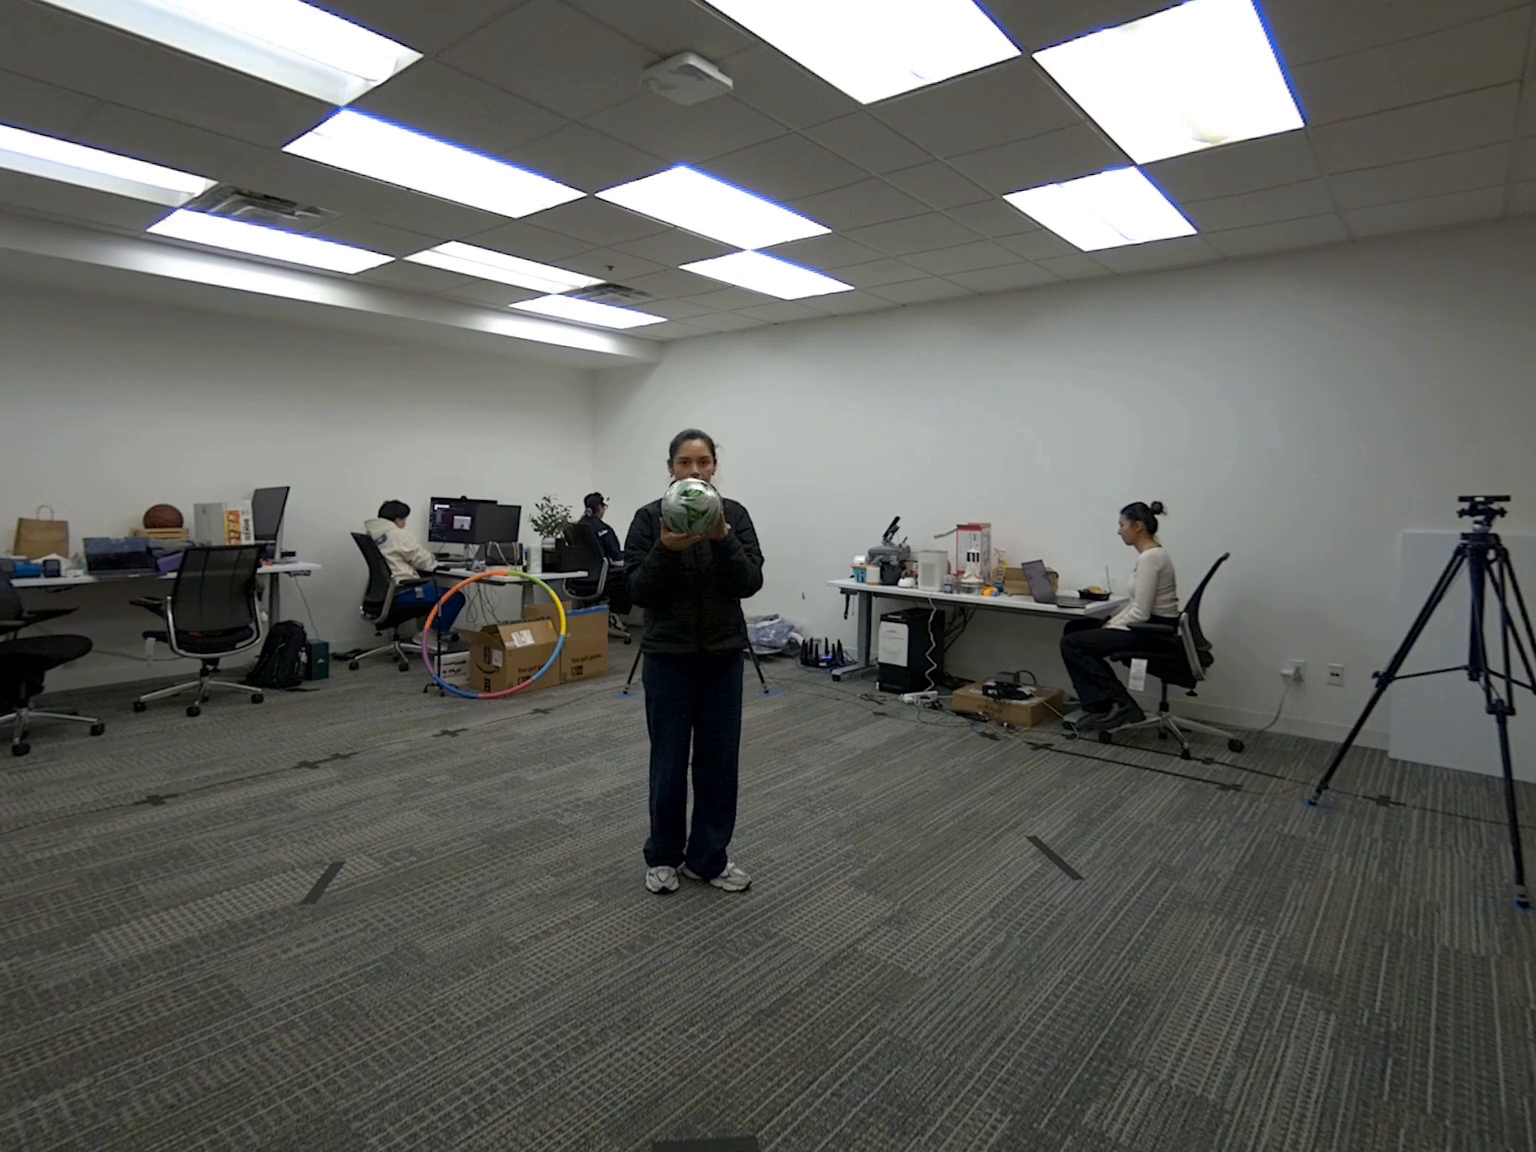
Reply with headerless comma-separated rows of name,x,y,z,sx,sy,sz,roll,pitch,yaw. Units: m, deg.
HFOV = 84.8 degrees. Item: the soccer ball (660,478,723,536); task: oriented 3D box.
soccer ball,-0.249,-0.219,2.689,0.187,0.187,0.188,1,4,-2
